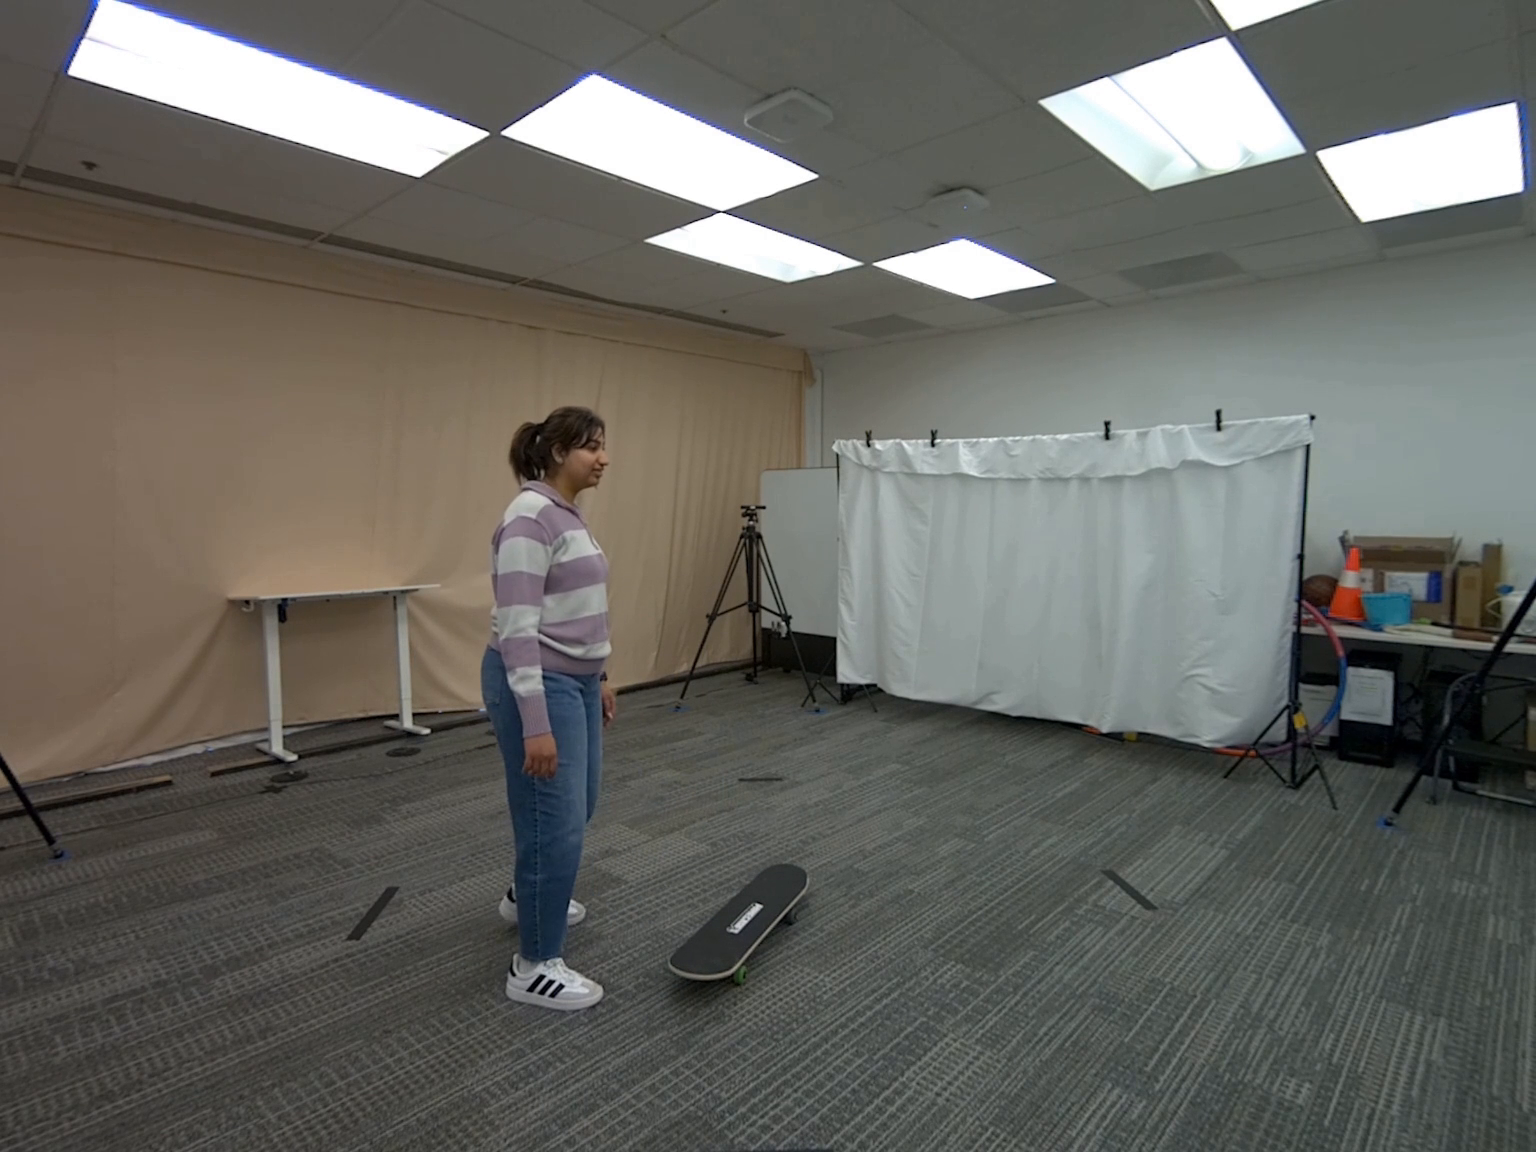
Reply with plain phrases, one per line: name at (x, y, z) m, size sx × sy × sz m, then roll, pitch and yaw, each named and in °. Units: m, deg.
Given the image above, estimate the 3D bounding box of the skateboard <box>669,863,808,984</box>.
skateboard at (-0.069, 1.118, 2.661) m, size 0.198 × 0.110 × 0.768 m, roll 1°, pitch 5°, yaw 23°
